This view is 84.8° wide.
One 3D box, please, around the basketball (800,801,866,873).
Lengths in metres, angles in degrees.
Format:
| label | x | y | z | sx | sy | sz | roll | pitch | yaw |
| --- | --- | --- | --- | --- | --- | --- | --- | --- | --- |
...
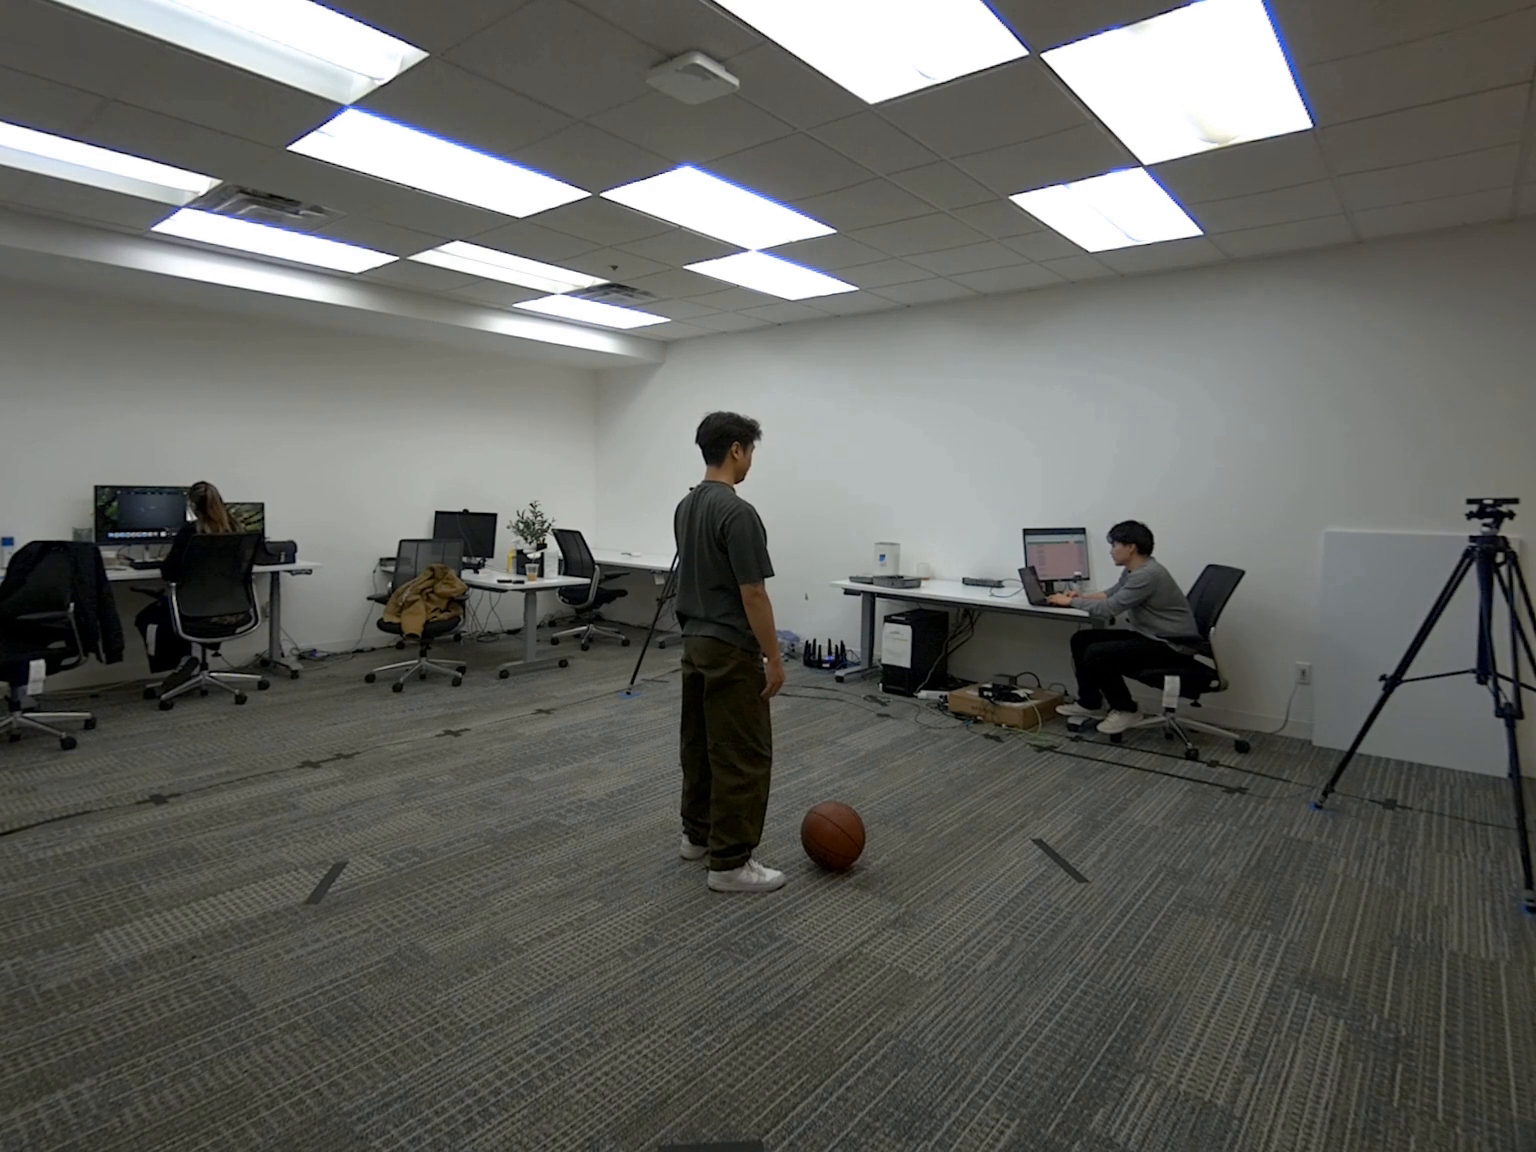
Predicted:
| label | x | y | z | sx | sy | sz | roll | pitch | yaw |
| --- | --- | --- | --- | --- | --- | --- | --- | --- | --- |
| basketball | 0.238 | 0.957 | 3.143 | 0.235 | 0.235 | 0.237 | 1 | 4 | -2 |
